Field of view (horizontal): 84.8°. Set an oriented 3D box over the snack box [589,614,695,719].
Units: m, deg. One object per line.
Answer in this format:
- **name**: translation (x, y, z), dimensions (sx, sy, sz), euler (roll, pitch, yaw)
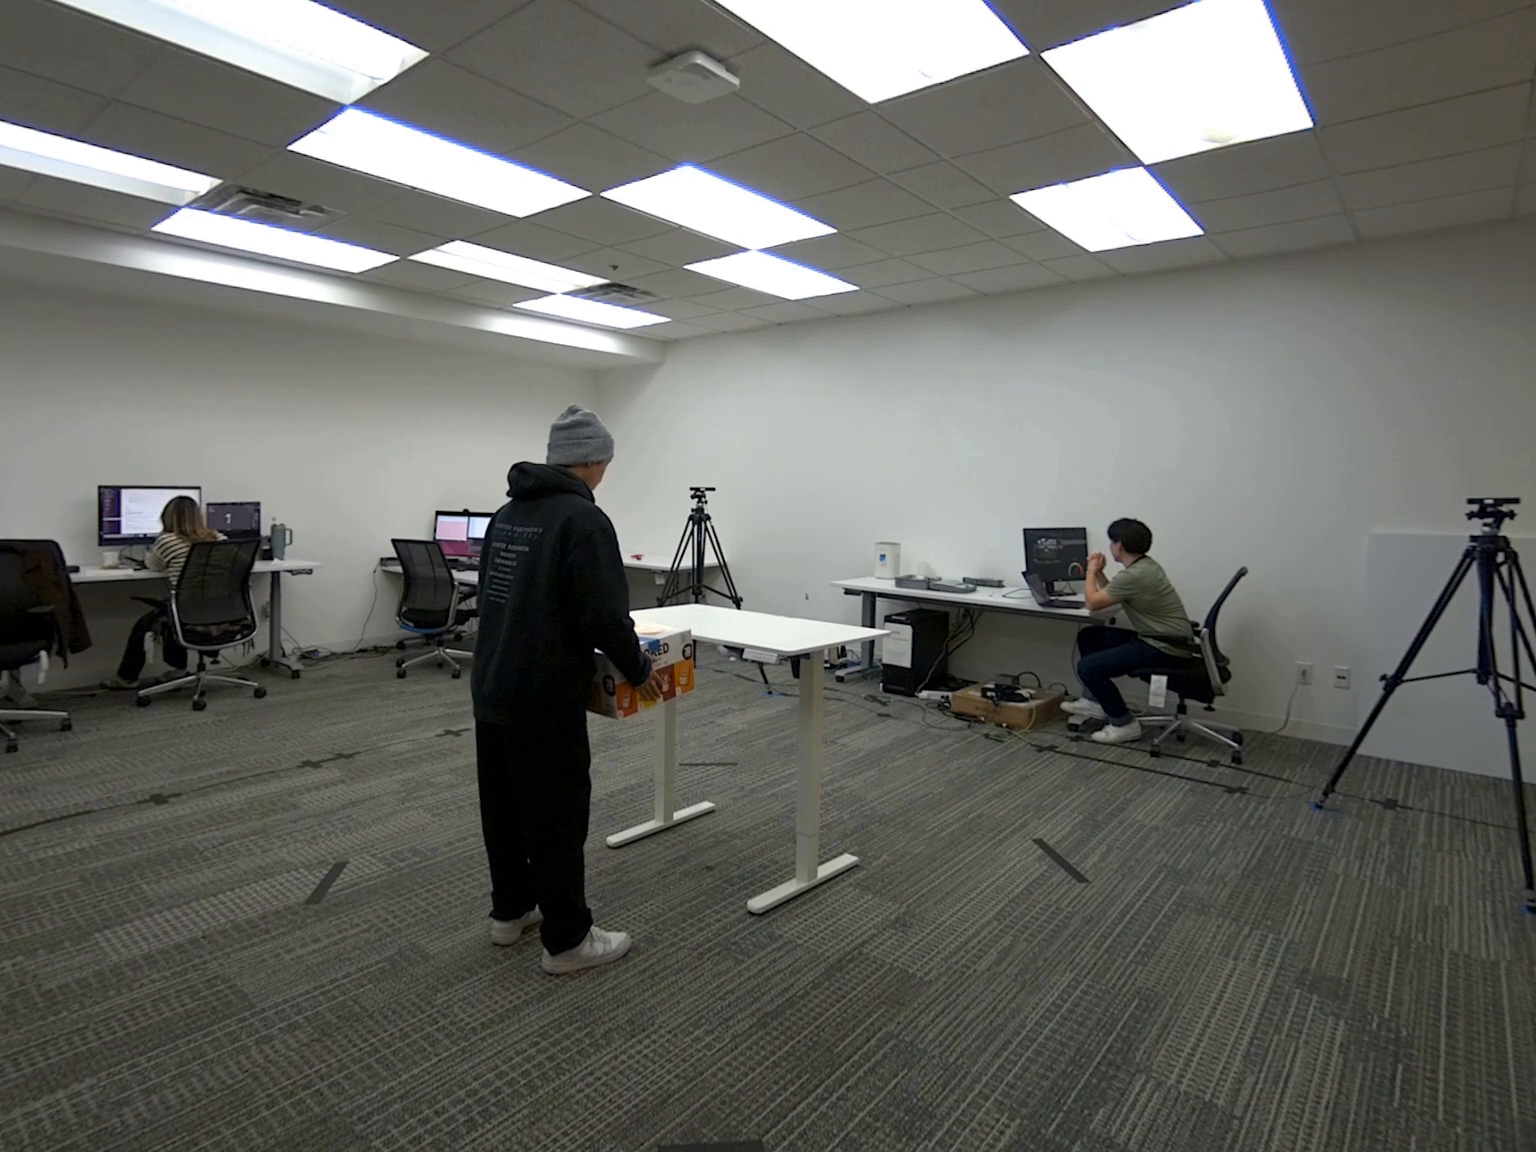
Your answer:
- **snack box**: translation (-0.512, 0.279, 2.749), dimensions (0.419, 0.204, 0.332), euler (5, 13, 40)
